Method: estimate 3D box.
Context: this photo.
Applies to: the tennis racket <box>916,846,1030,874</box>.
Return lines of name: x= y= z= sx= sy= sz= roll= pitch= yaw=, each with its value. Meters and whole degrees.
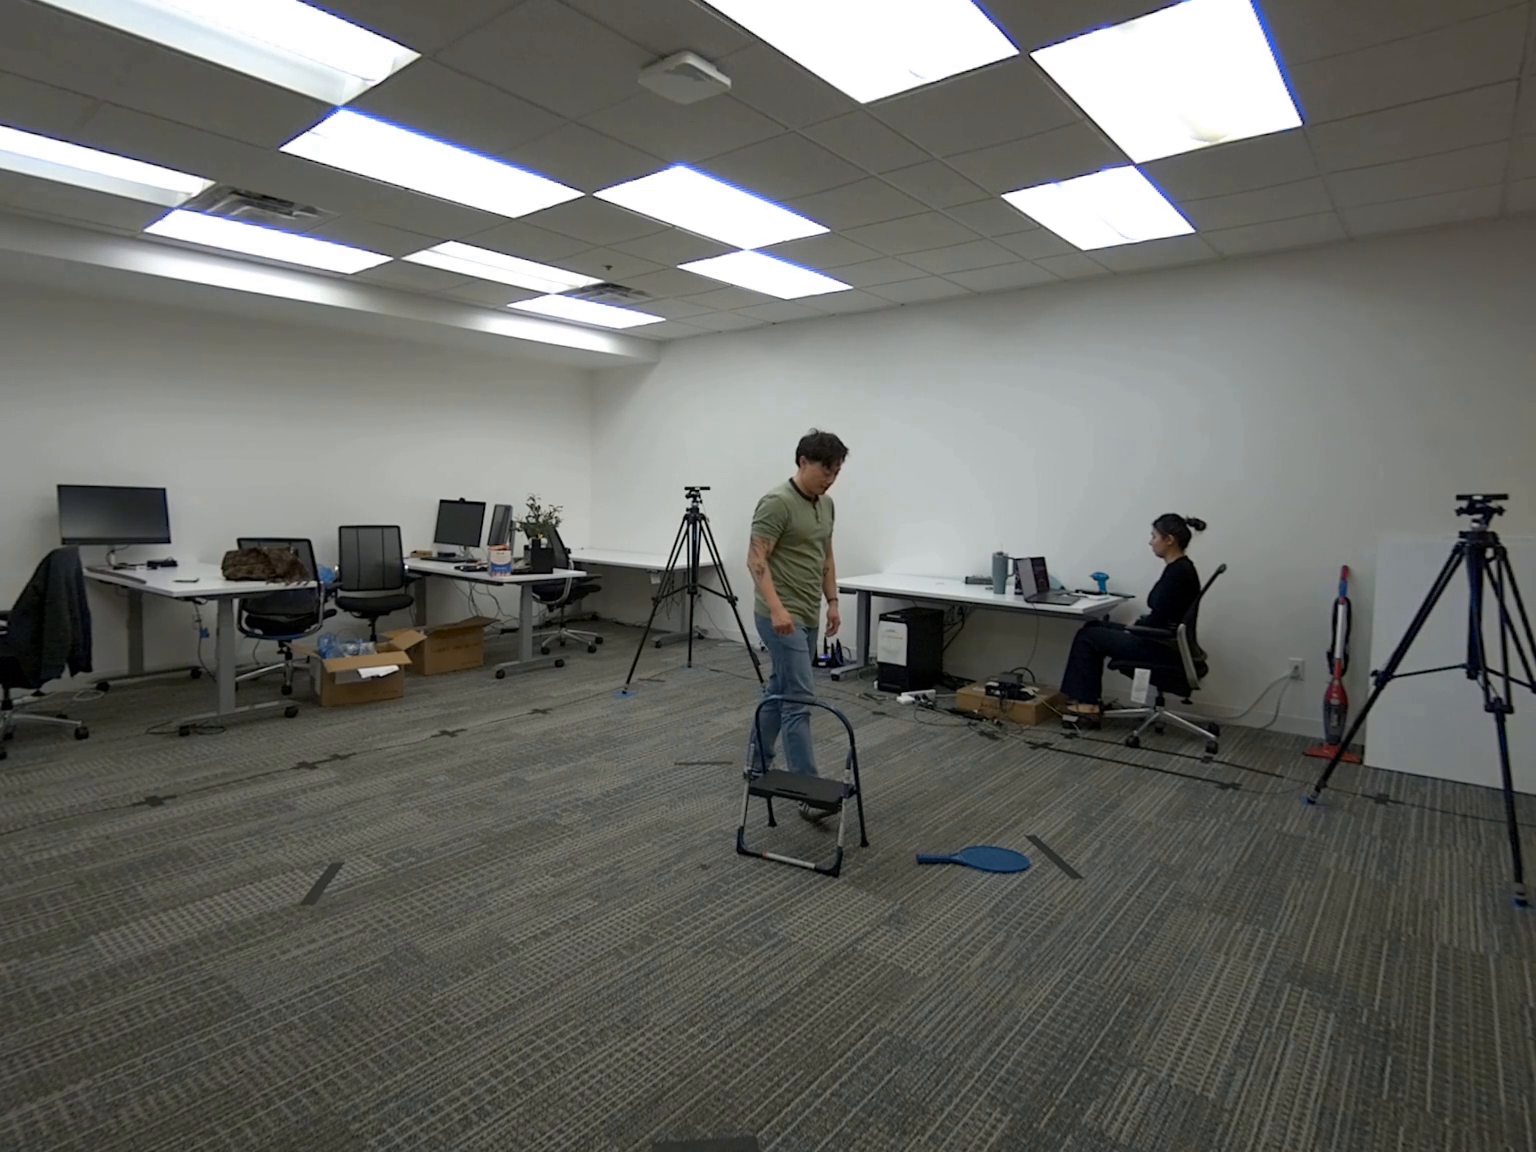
tennis racket: x=0.769 y=1.067 z=3.211 sx=0.431 sy=0.031 sz=0.216 roll=2 pitch=5 yaw=-5
